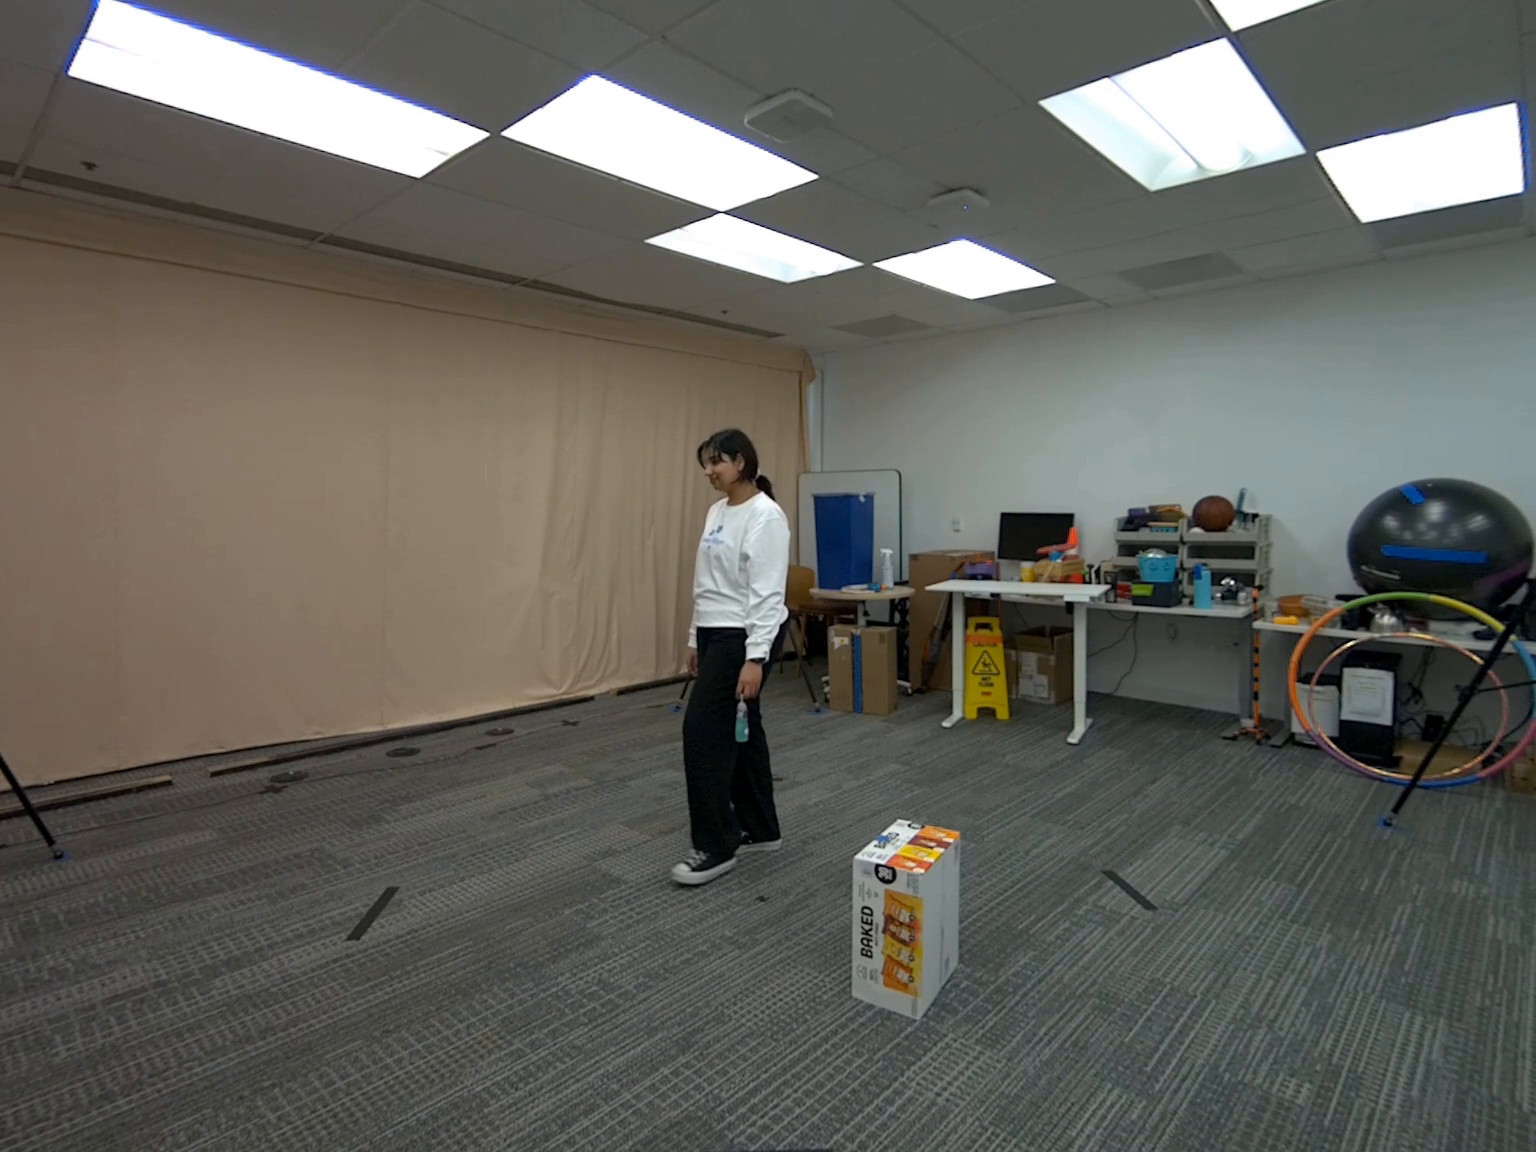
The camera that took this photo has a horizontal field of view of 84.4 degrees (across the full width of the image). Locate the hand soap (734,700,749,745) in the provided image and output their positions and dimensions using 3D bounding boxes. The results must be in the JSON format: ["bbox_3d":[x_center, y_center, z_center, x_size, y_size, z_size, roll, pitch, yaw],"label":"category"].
[{"bbox_3d":[-0.089,0.510,3.045,0.043,0.168,0.084,-2,0,3],"label":"hand soap"}]
